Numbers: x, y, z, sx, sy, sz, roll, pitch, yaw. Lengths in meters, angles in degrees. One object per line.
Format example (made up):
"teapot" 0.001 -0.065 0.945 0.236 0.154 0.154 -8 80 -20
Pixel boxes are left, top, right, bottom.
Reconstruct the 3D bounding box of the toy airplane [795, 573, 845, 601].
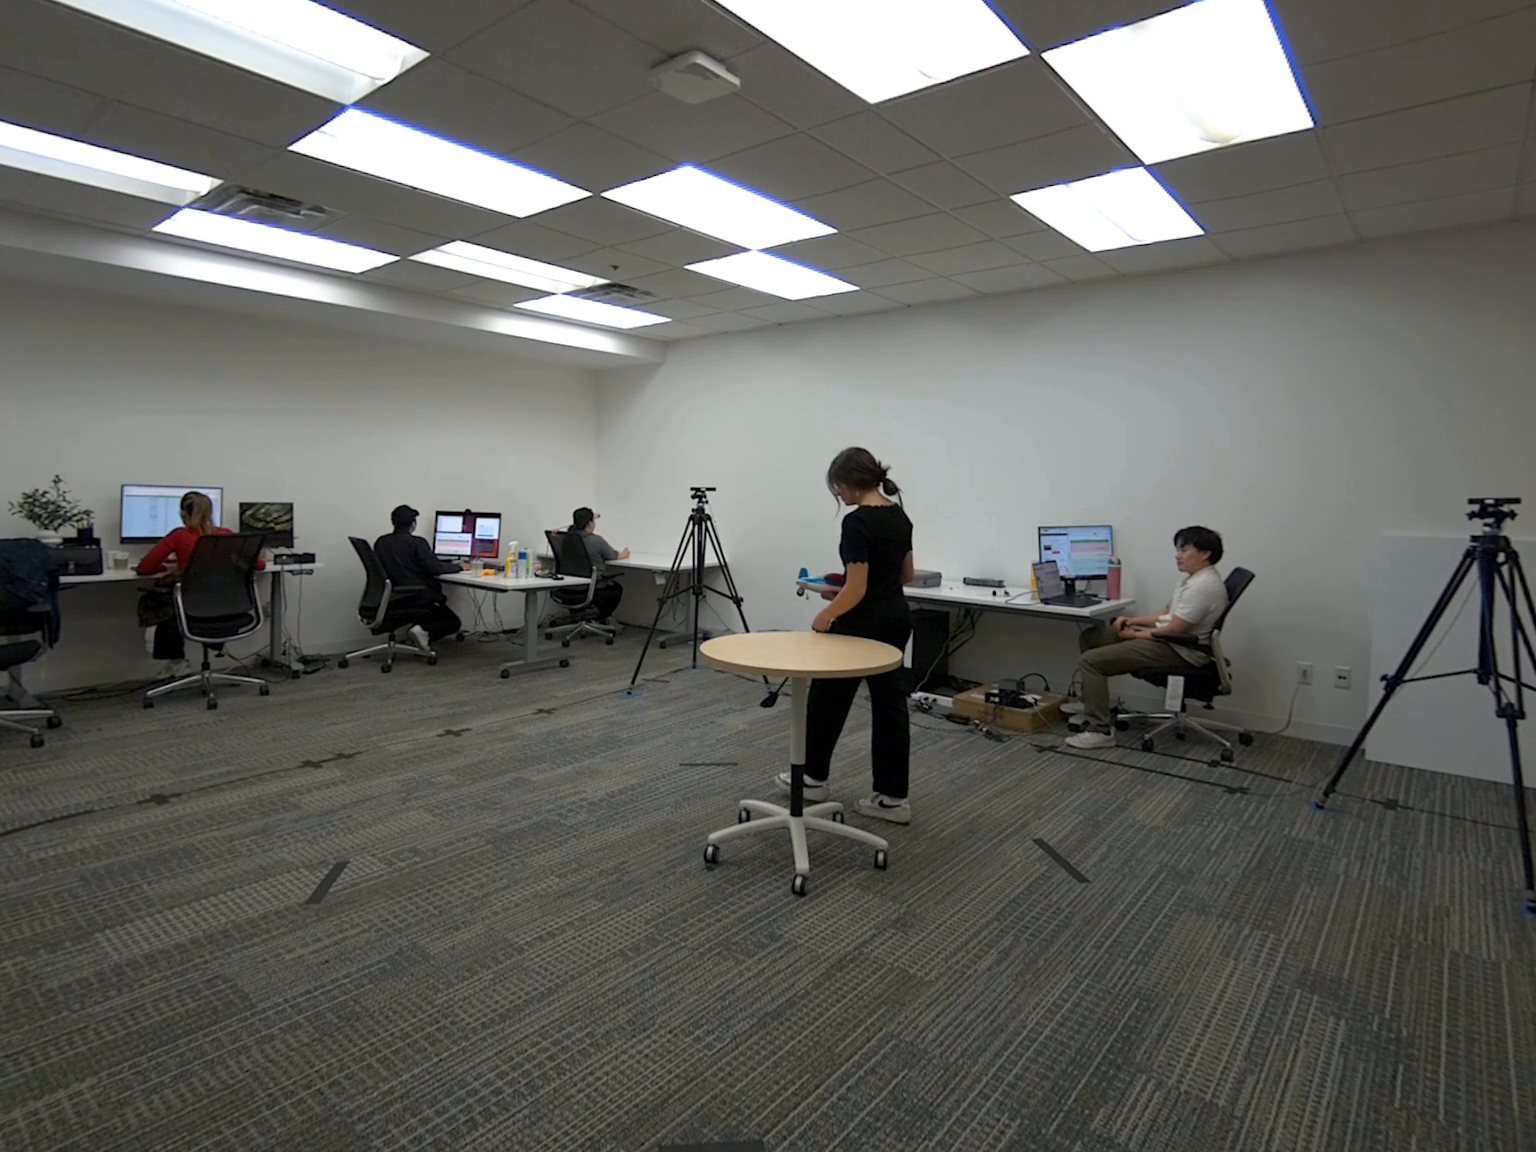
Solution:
"toy airplane" 0.243 0.049 3.944 0.252 0.157 0.257 30 -13 -22
